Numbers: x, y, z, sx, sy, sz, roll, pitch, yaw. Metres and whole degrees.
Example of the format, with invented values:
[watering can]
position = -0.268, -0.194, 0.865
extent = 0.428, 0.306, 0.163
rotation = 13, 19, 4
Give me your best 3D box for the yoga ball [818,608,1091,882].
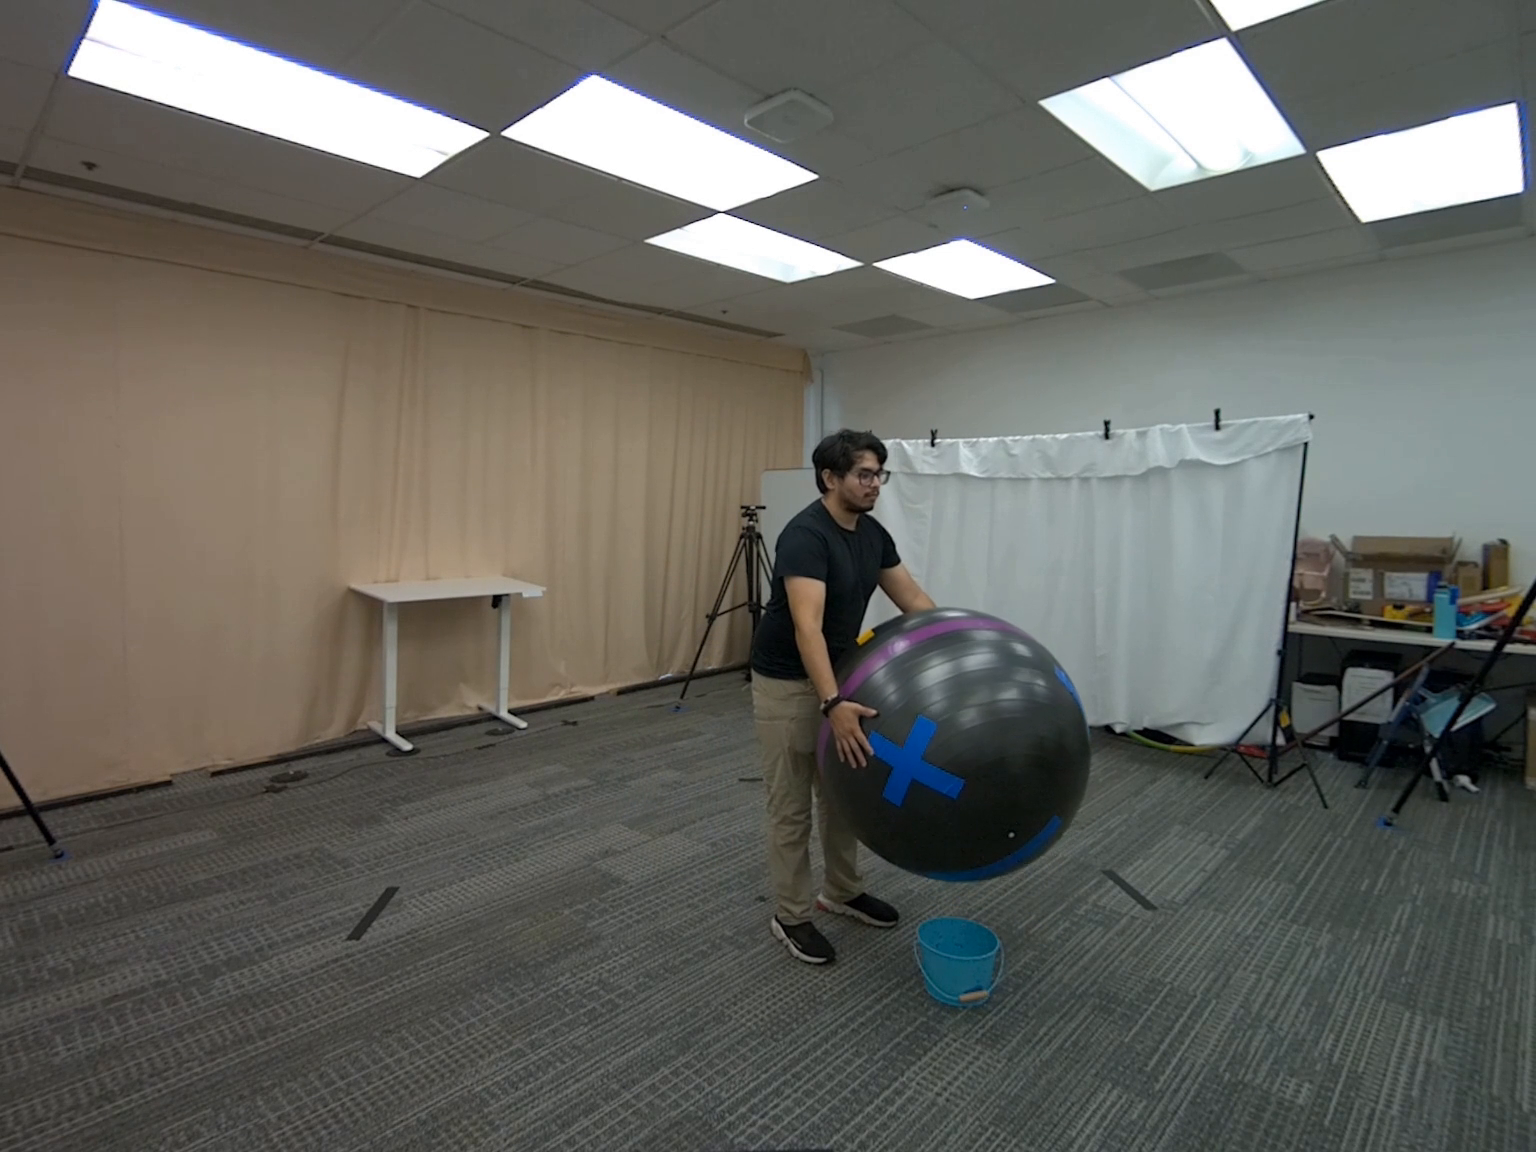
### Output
[yoga ball]
position = 0.521, 0.481, 2.405
extent = 0.757, 0.756, 0.760
rotation = 0, 4, -2
